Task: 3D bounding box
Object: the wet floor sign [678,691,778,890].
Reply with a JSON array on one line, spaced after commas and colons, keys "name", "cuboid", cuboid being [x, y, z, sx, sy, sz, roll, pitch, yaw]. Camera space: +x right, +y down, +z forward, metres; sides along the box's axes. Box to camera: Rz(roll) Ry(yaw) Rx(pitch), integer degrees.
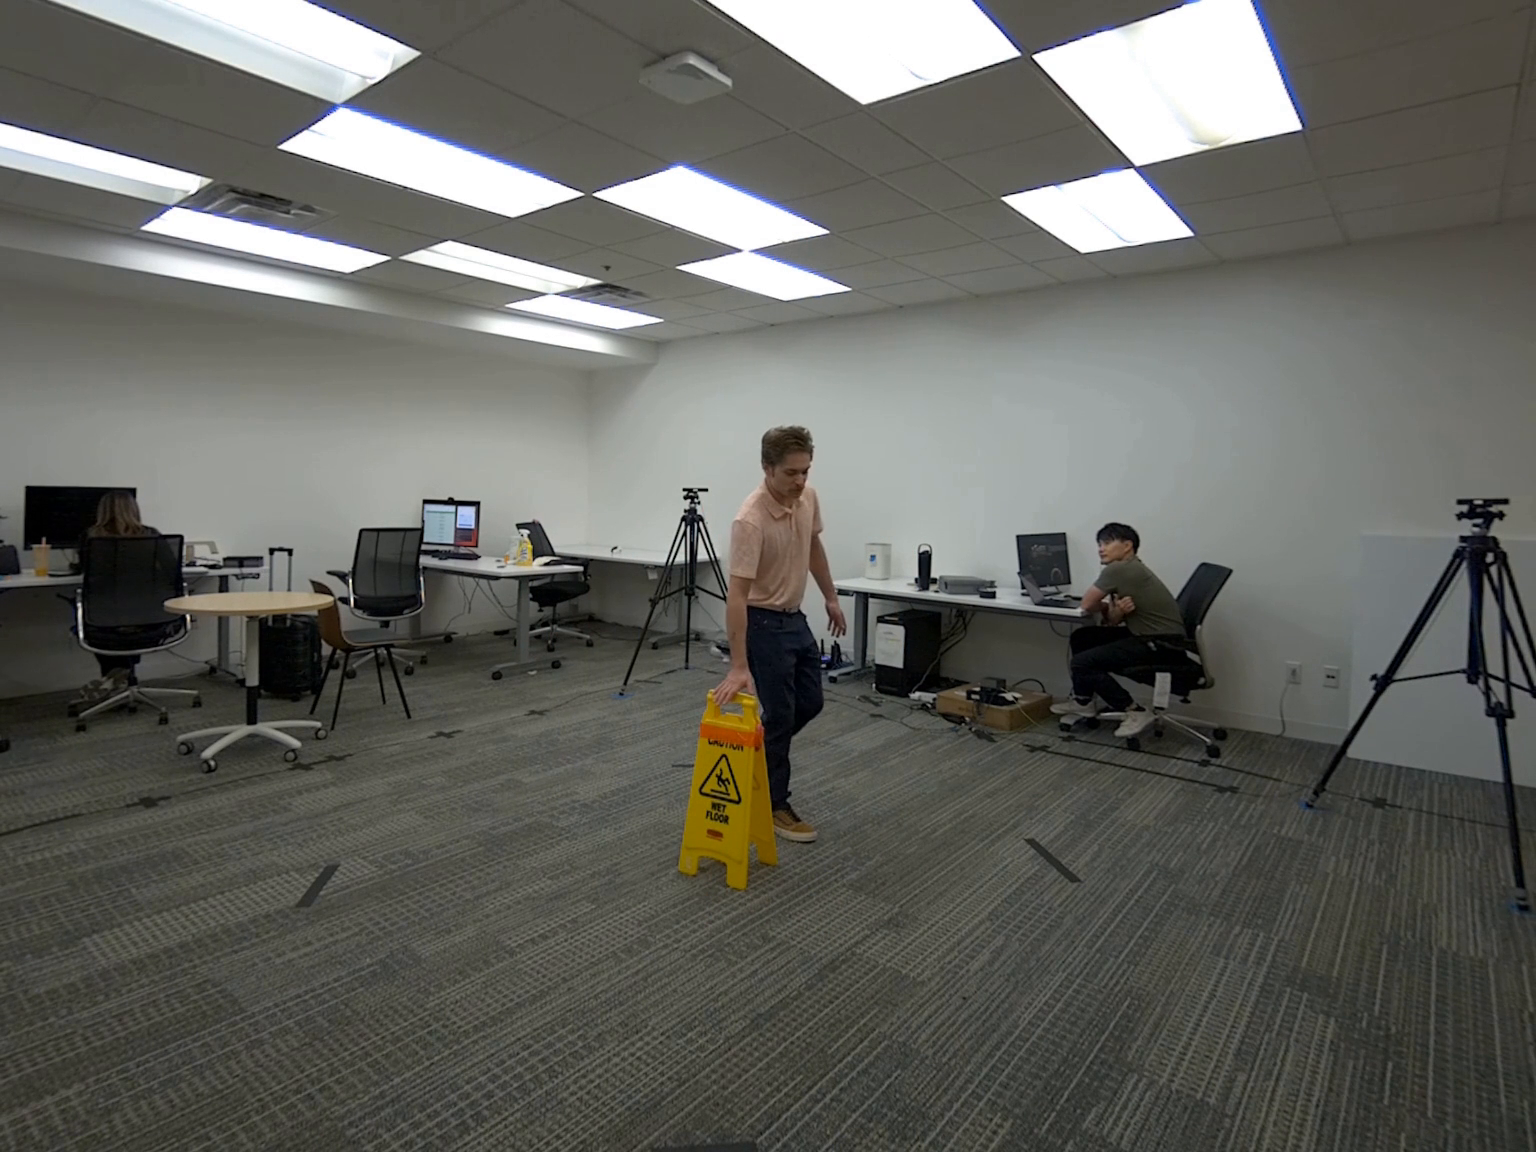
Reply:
[{"name": "wet floor sign", "cuboid": [-0.150, 0.746, 3.105, 0.290, 0.644, 0.282, 2, 4, 29]}]
